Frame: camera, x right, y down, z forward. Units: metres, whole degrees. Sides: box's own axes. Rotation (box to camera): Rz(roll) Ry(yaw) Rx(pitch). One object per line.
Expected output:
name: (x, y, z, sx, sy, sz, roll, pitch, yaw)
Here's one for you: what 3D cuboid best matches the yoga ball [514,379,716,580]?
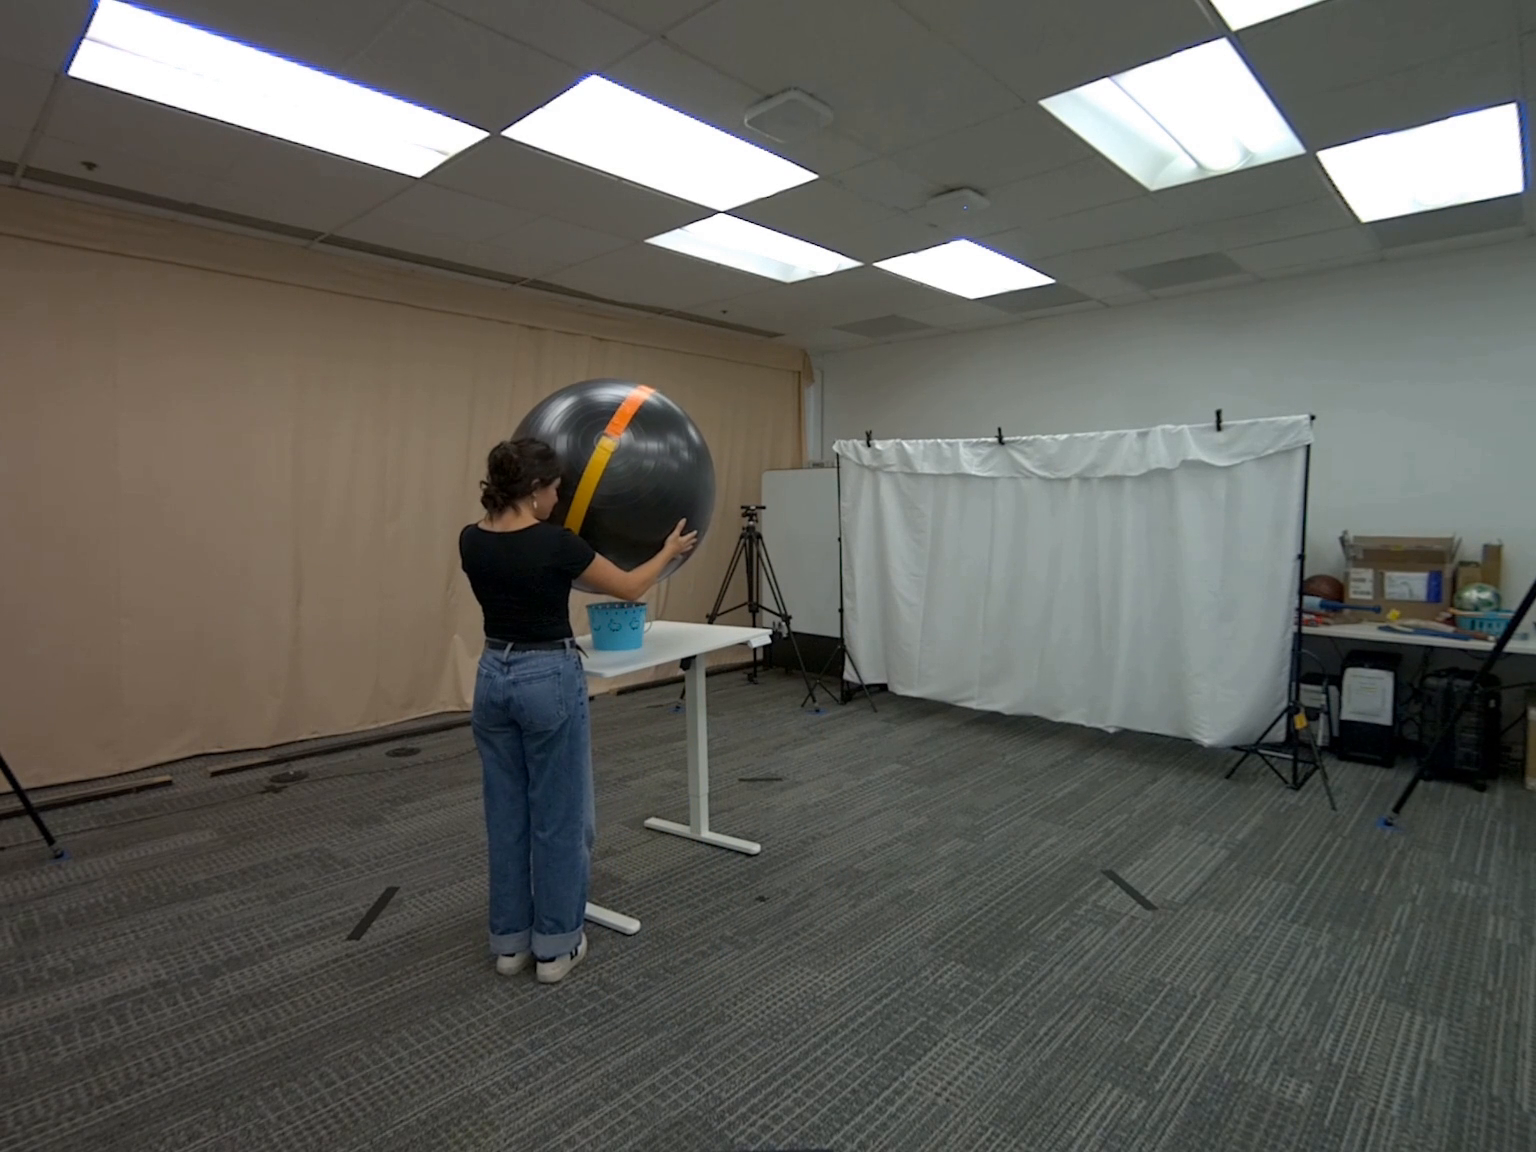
yoga ball: (-0.563, -0.308, 2.987, 0.757, 0.756, 0.760, 0, 4, -2)
